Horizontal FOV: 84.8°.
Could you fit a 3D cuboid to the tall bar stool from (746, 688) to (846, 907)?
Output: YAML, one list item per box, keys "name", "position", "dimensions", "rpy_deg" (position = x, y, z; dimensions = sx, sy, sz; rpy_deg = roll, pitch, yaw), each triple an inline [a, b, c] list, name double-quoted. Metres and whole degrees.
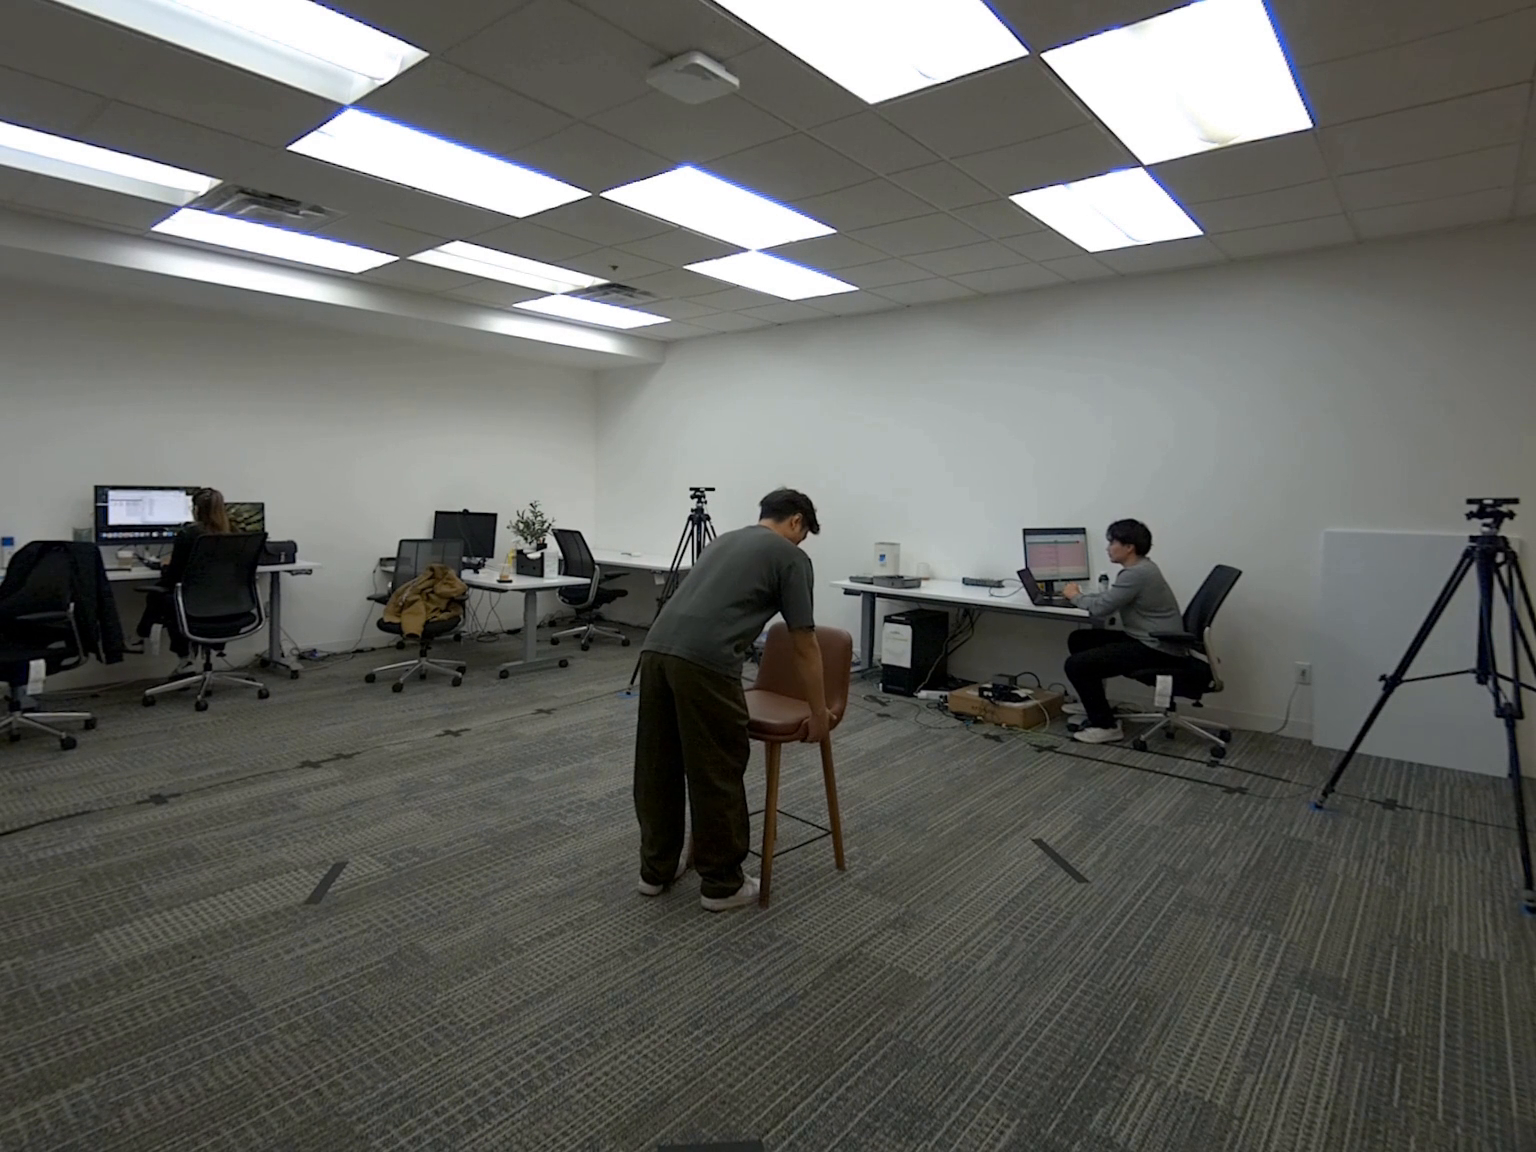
- name: "tall bar stool"
  position: [0.004, 0.632, 3.108]
  dimensions: [0.452, 0.889, 0.472]
  rpy_deg: [2, 2, -44]
